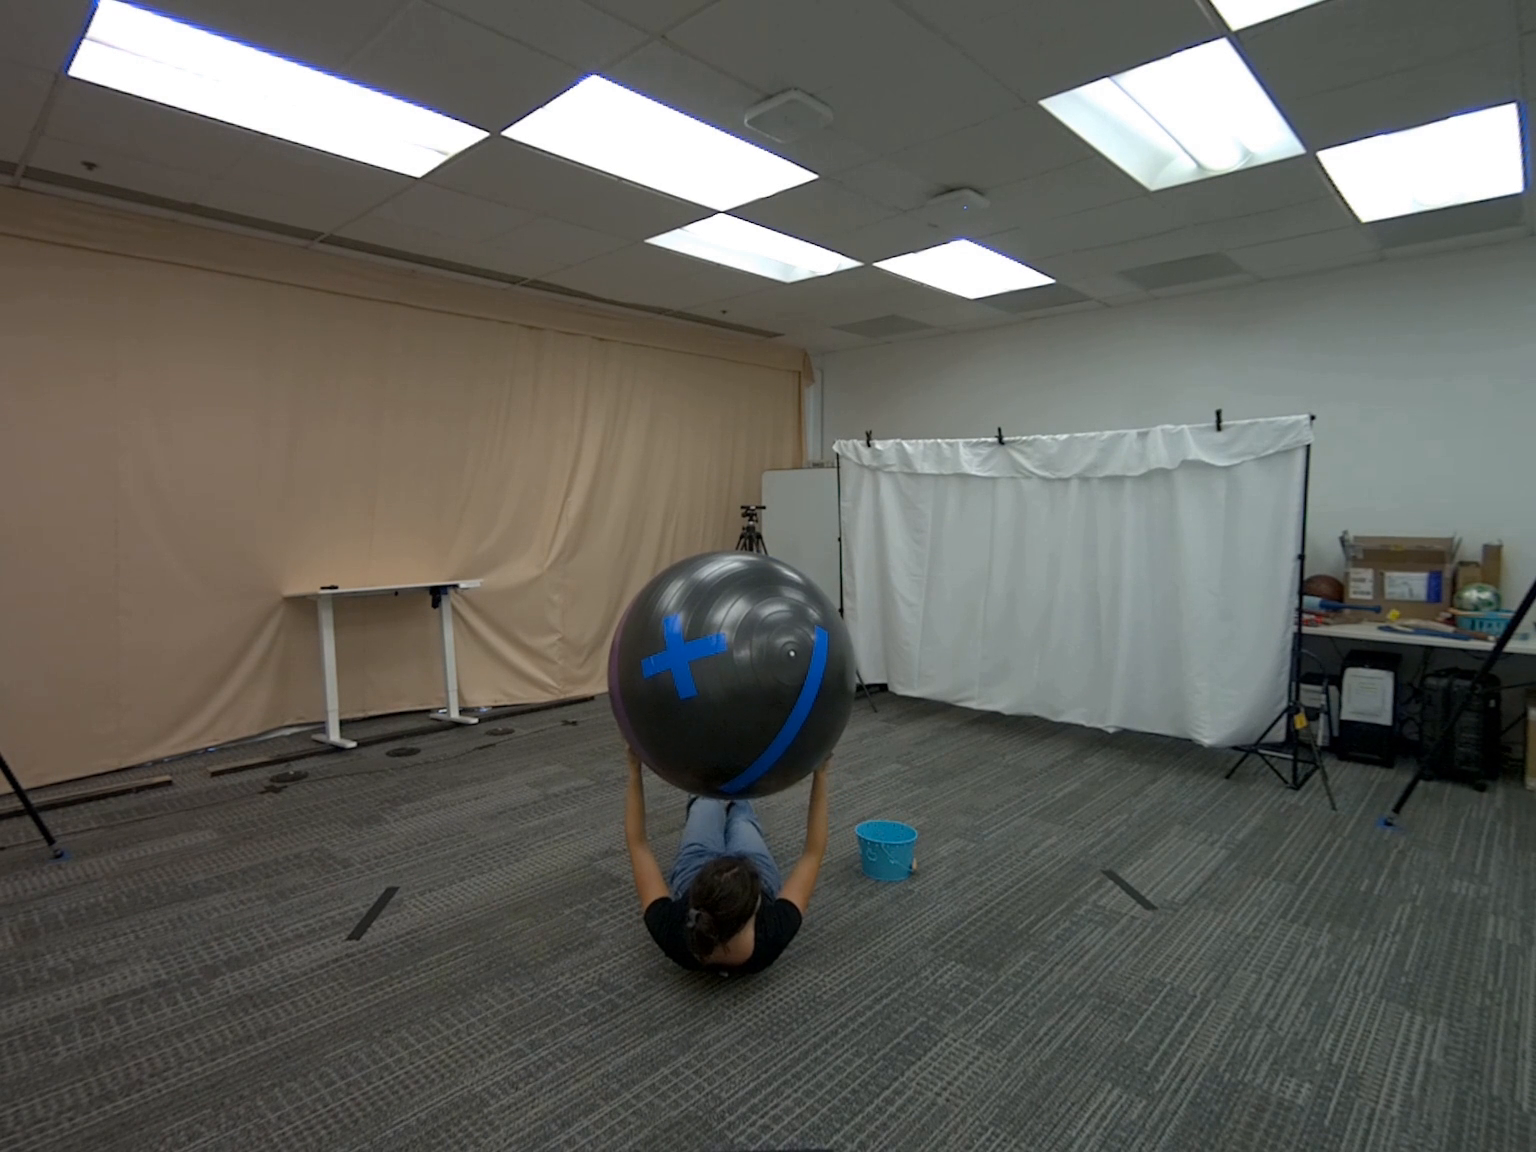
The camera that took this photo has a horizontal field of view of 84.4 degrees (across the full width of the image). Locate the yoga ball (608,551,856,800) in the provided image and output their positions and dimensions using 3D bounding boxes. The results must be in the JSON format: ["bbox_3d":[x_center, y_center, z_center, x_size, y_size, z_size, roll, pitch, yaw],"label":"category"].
[{"bbox_3d":[-0.109,0.302,2.595,0.757,0.756,0.760,0,4,-2],"label":"yoga ball"}]
